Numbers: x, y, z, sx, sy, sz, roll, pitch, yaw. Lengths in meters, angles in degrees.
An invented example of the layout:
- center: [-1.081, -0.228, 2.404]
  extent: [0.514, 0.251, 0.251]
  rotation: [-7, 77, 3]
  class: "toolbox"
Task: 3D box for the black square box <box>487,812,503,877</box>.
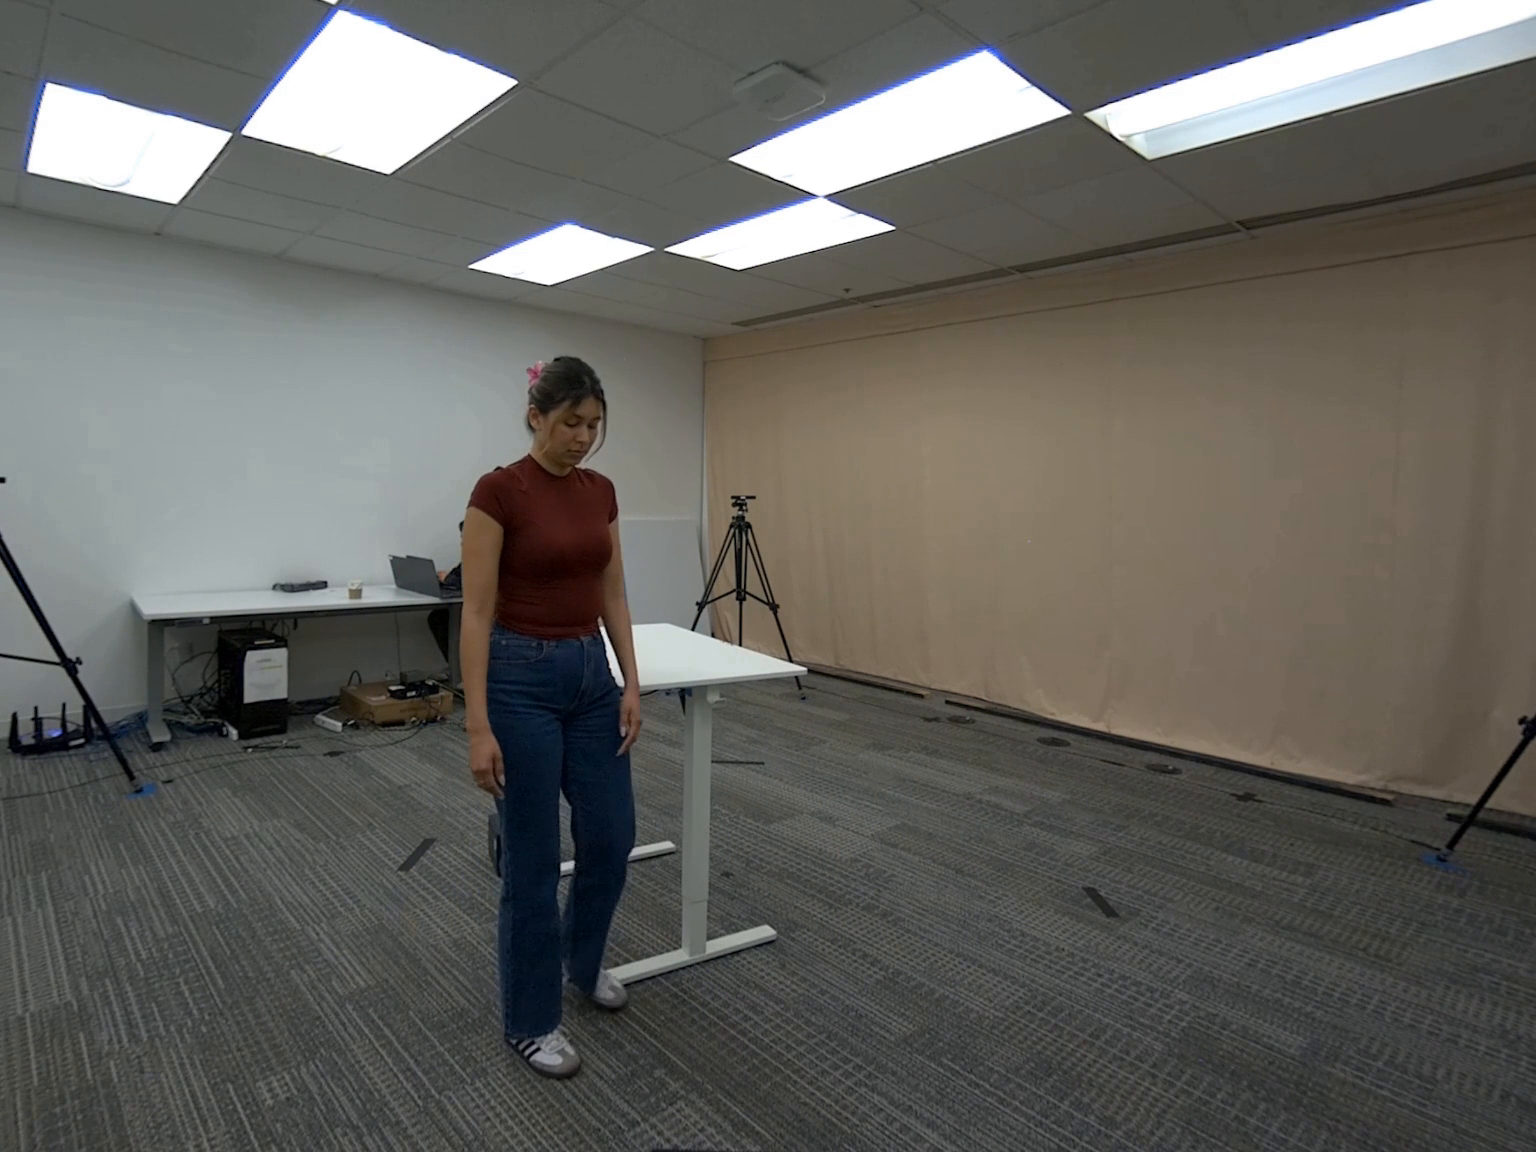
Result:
- center: [-0.926, 0.996, 3.176]
  extent: [0.224, 0.155, 0.221]
  rotation: [-1, 4, -27]
  class: "black square box"
